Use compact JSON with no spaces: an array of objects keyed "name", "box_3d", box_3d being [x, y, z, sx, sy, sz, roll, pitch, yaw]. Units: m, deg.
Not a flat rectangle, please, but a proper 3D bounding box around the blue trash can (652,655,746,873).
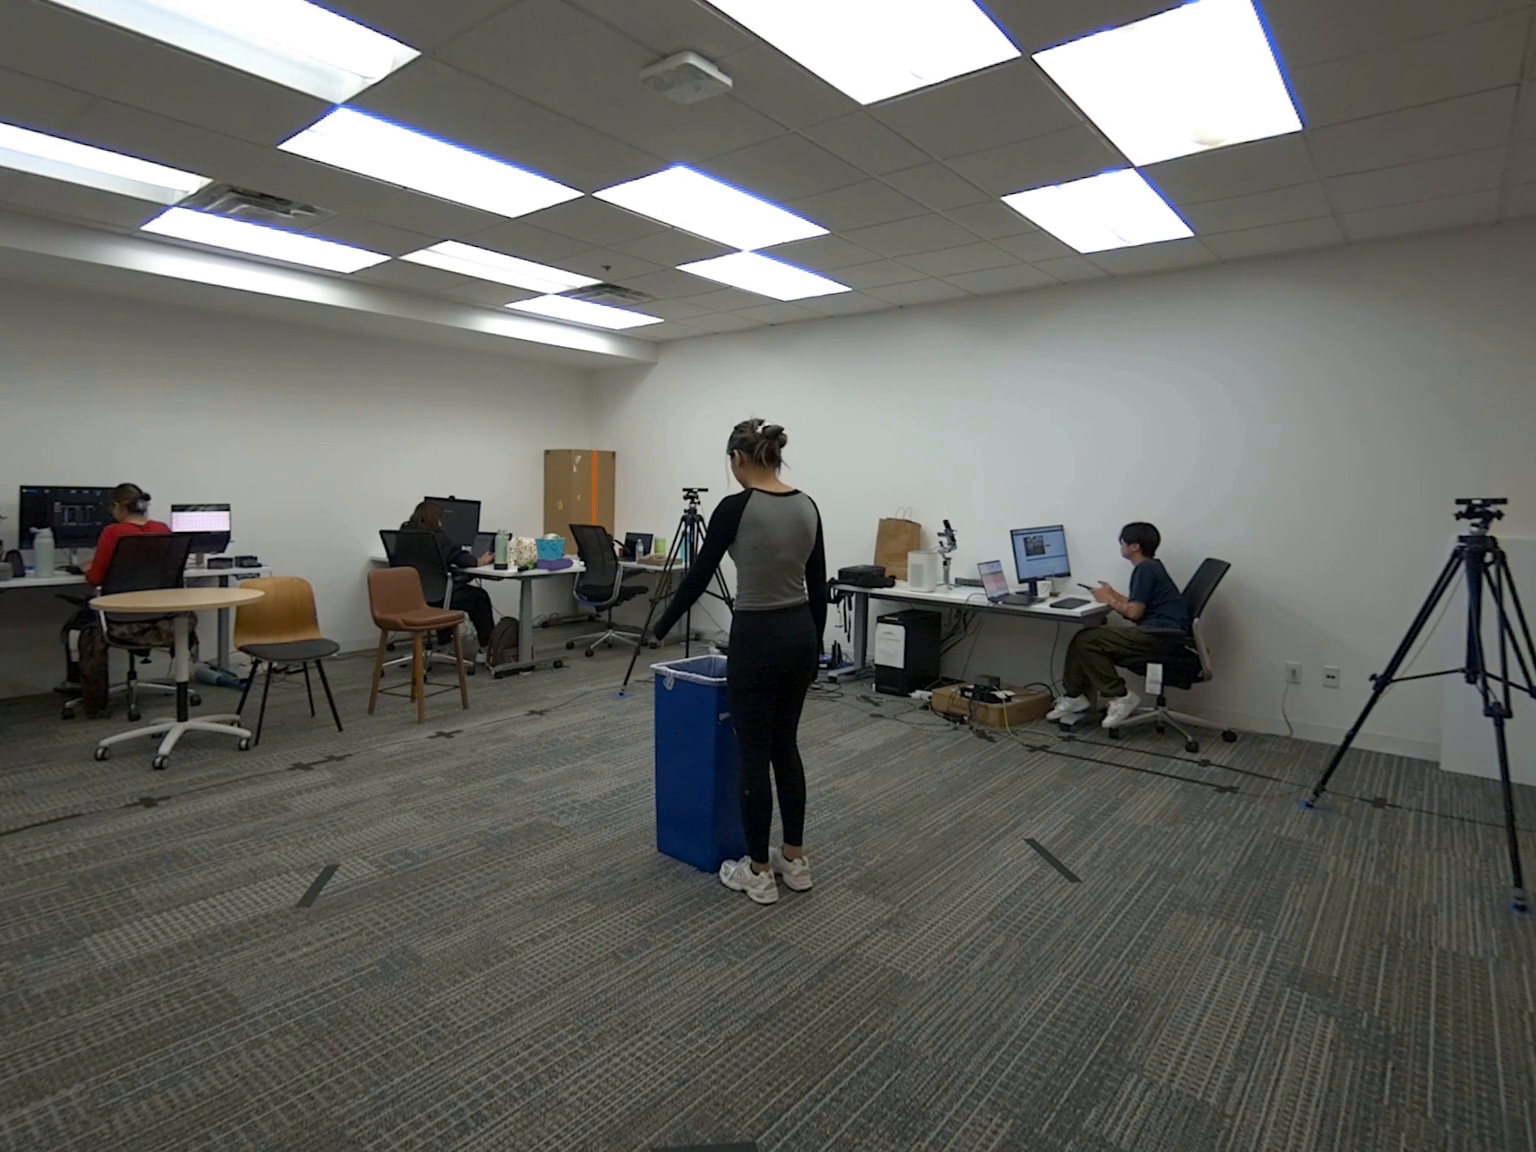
[{"name":"blue trash can","box_3d":[-0.225,0.697,3.268,0.391,0.712,0.363,4,4,41]}]
